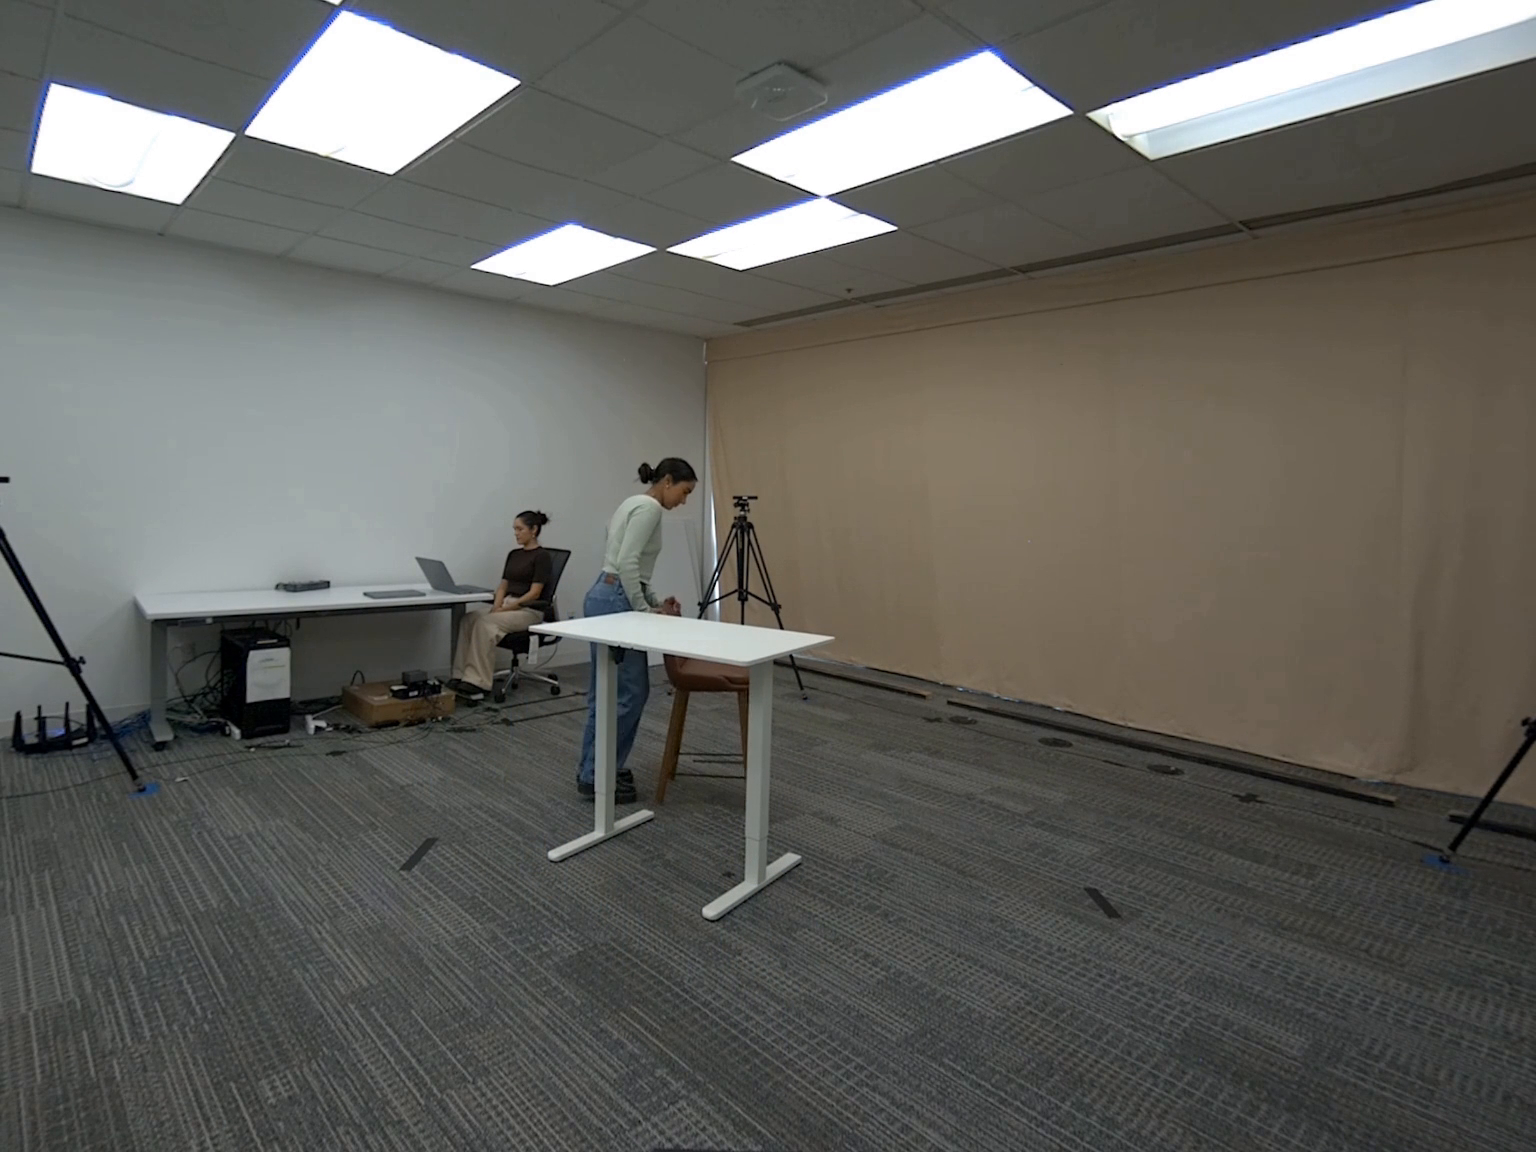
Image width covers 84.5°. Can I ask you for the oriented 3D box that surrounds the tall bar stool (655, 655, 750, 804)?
[{"bbox_3d":[-0.287,0.593,3.955,0.469,0.888,0.456,0,3,4],"label":"tall bar stool"}]
